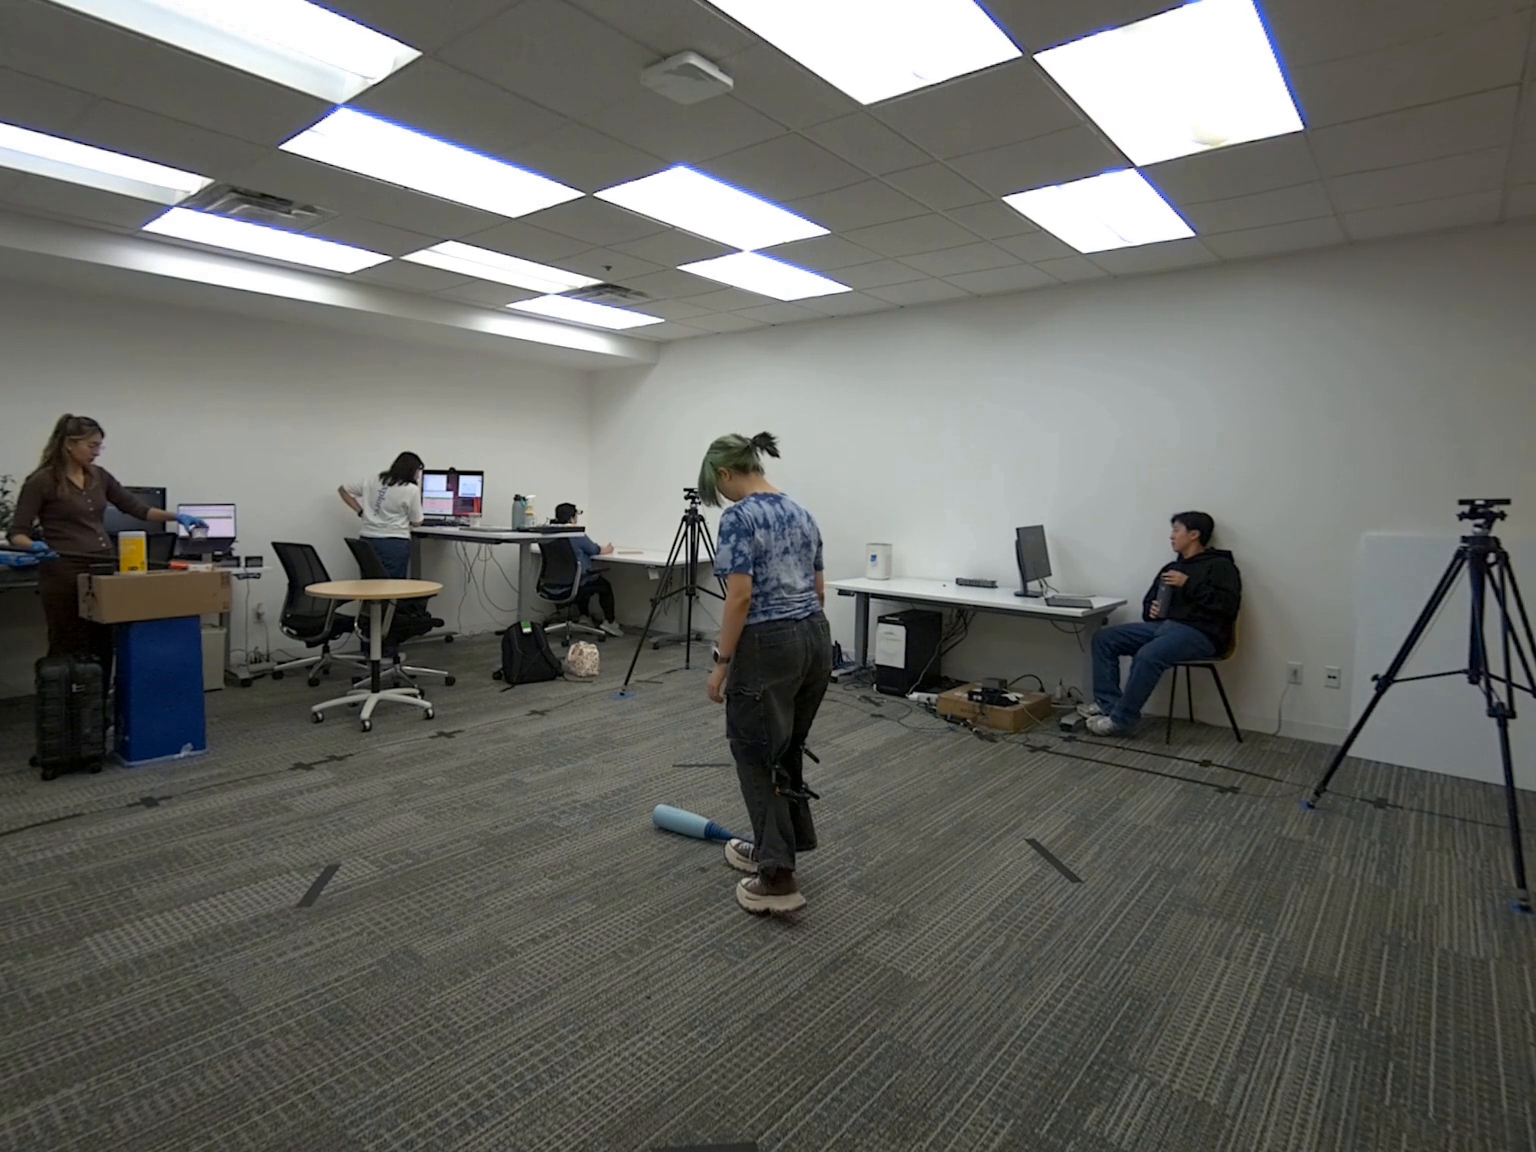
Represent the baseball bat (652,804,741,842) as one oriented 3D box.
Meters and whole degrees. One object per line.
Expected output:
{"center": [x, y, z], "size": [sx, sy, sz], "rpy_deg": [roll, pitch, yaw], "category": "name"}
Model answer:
{"center": [-0.229, 1.008, 3.366], "size": [0.559, 0.088, 0.087], "rpy_deg": [7, 6, 27], "category": "baseball bat"}
